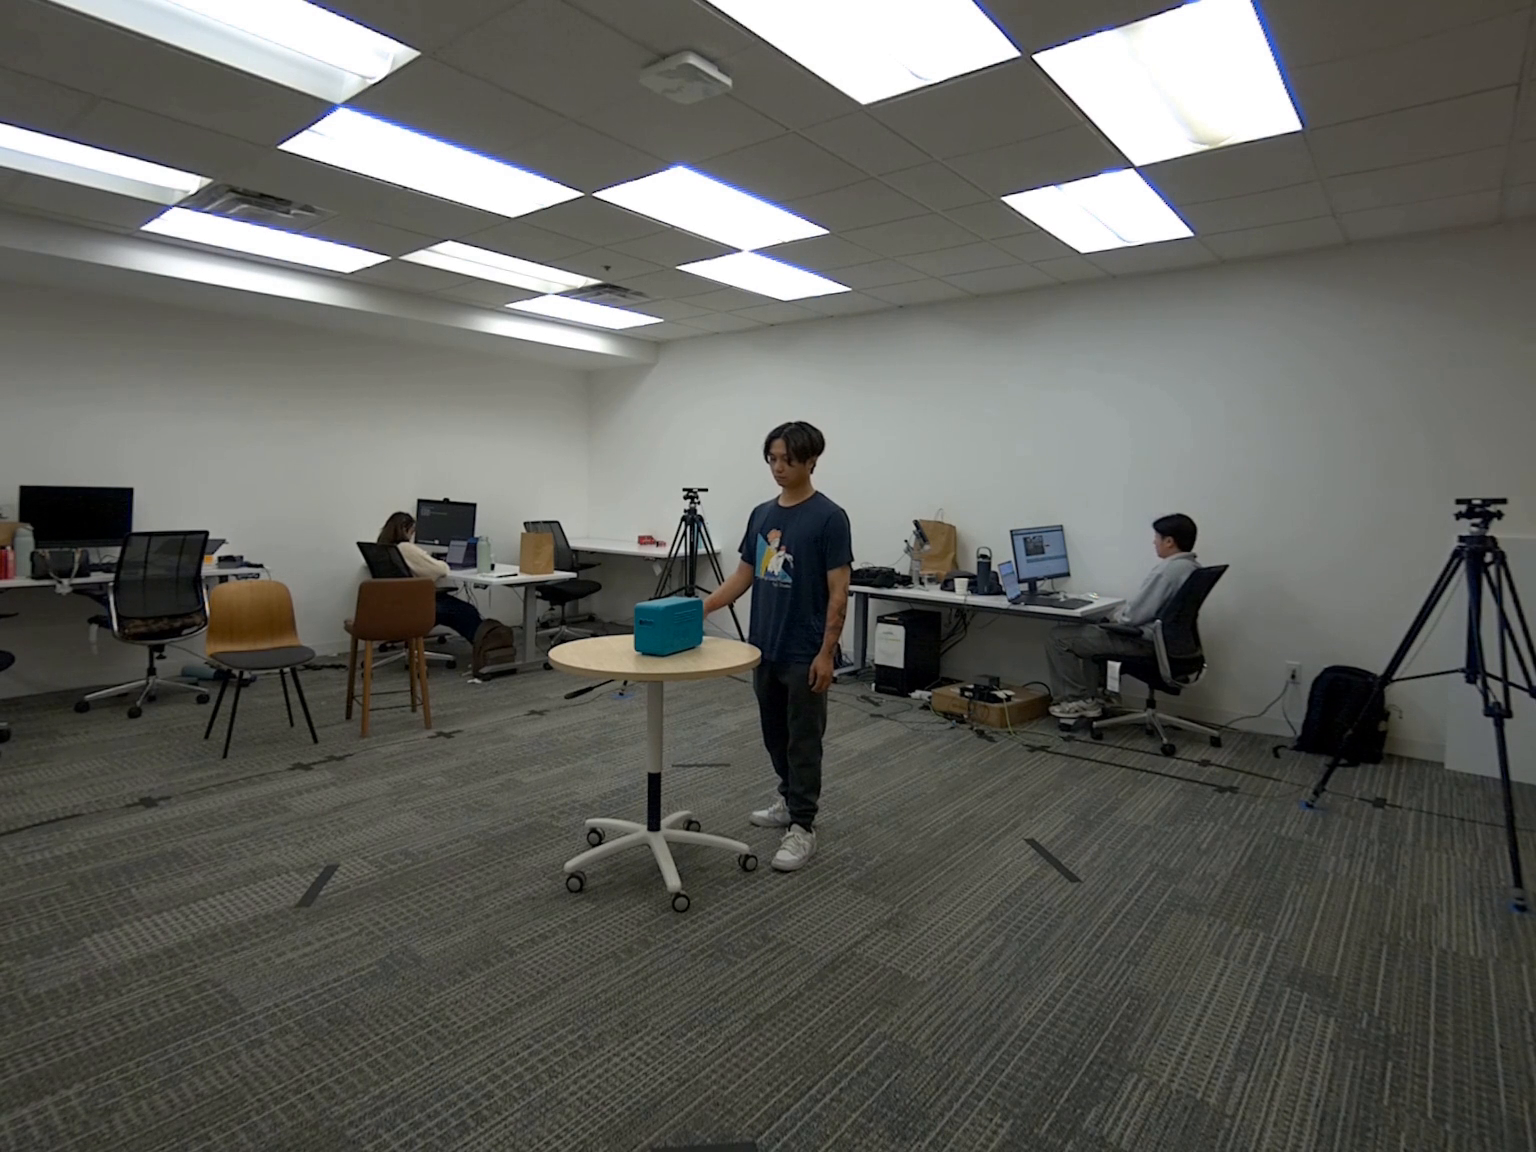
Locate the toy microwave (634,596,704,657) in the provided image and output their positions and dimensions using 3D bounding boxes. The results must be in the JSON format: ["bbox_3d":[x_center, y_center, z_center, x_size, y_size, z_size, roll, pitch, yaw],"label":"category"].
[{"bbox_3d":[-0.382,0.180,3.099,0.156,0.184,0.280,1,4,25],"label":"toy microwave"}]
